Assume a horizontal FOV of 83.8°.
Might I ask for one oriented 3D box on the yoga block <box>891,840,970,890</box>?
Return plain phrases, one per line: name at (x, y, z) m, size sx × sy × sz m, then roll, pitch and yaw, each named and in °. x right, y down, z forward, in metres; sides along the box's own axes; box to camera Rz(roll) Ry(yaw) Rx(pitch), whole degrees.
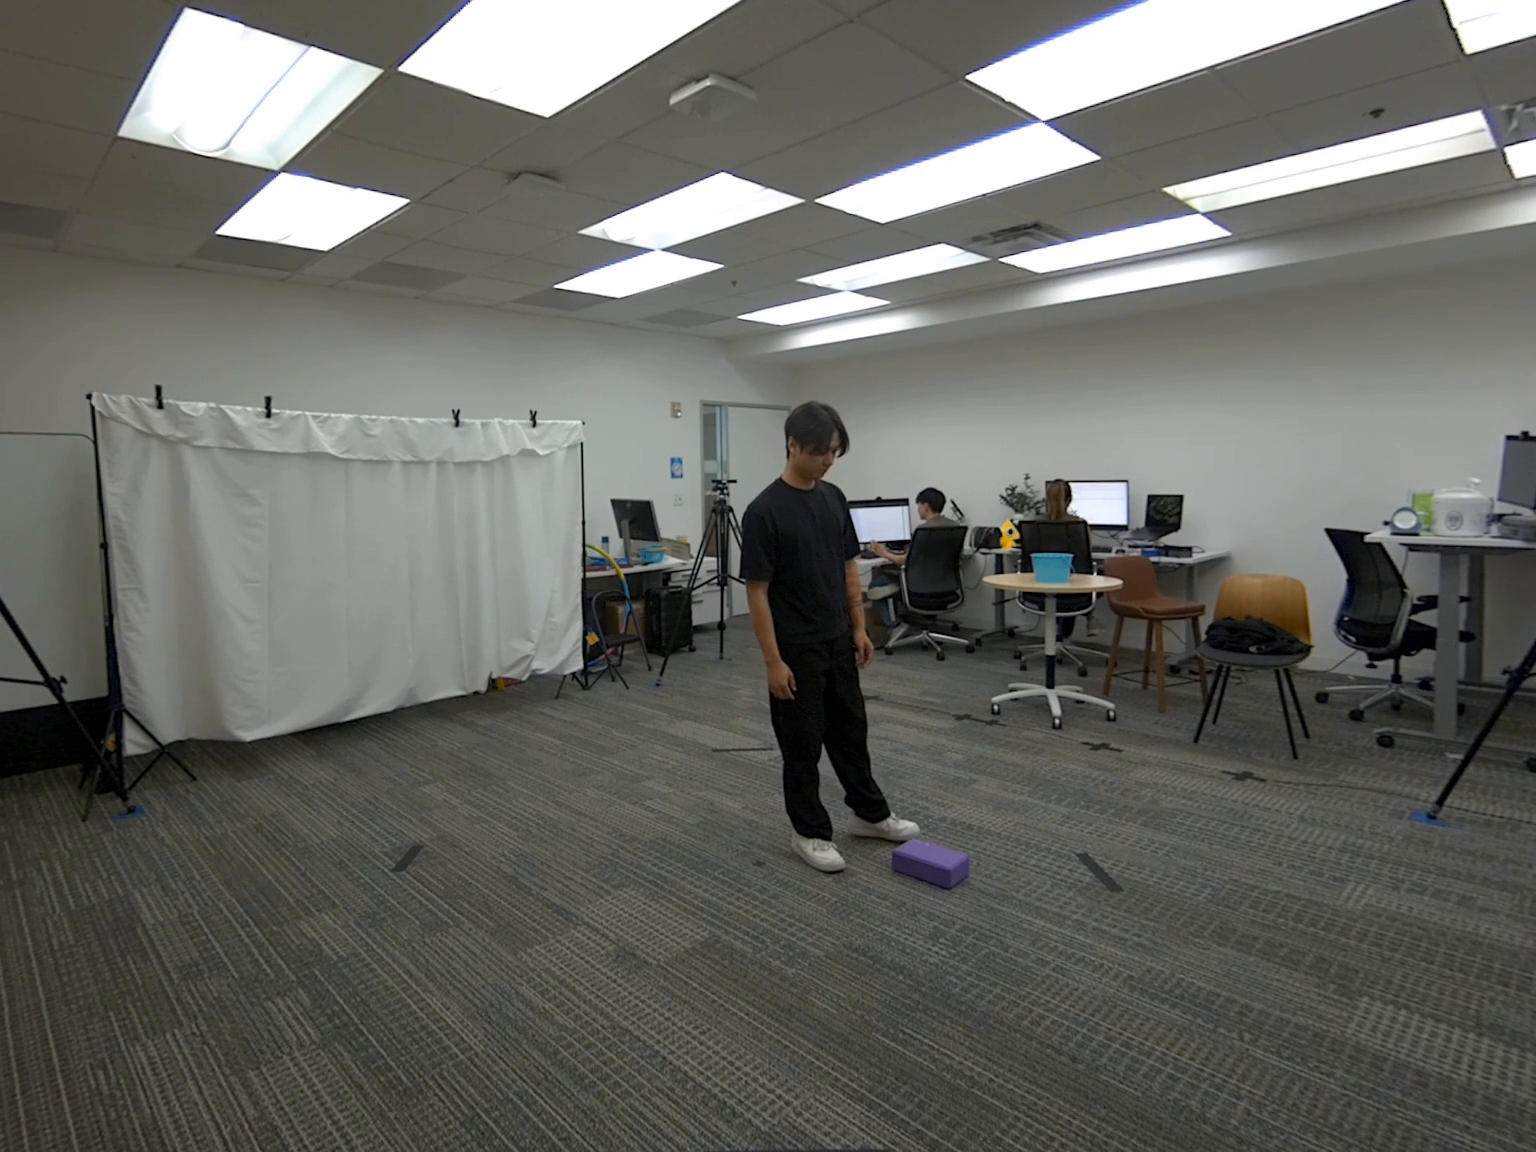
yoga block at (0.573, 1.008, 3.005) m, size 0.236 × 0.076 × 0.145 m, roll 5°, pitch 7°, yaw 41°
